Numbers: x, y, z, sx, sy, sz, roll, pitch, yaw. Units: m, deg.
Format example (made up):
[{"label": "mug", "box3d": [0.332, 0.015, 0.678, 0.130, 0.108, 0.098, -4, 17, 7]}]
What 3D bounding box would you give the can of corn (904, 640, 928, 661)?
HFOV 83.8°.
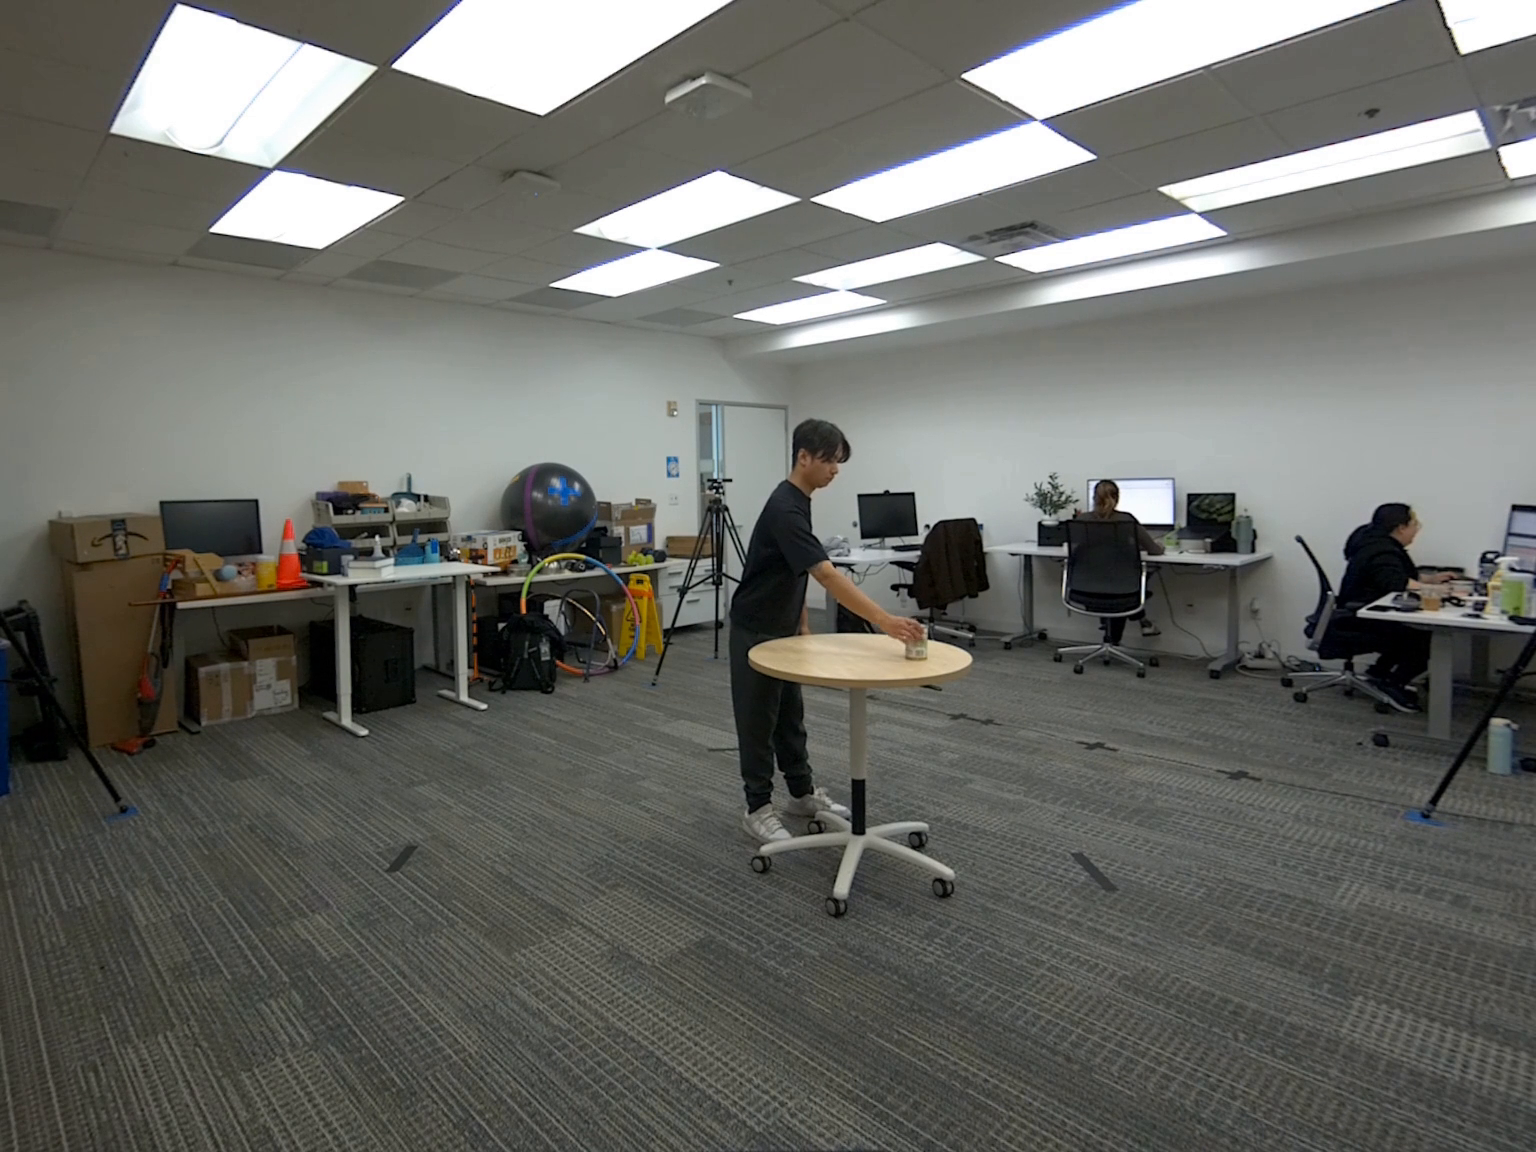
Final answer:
[{"label": "can of corn", "box3d": [0.504, 0.222, 2.893, 0.074, 0.110, 0.074, -2, 4, -2]}]
